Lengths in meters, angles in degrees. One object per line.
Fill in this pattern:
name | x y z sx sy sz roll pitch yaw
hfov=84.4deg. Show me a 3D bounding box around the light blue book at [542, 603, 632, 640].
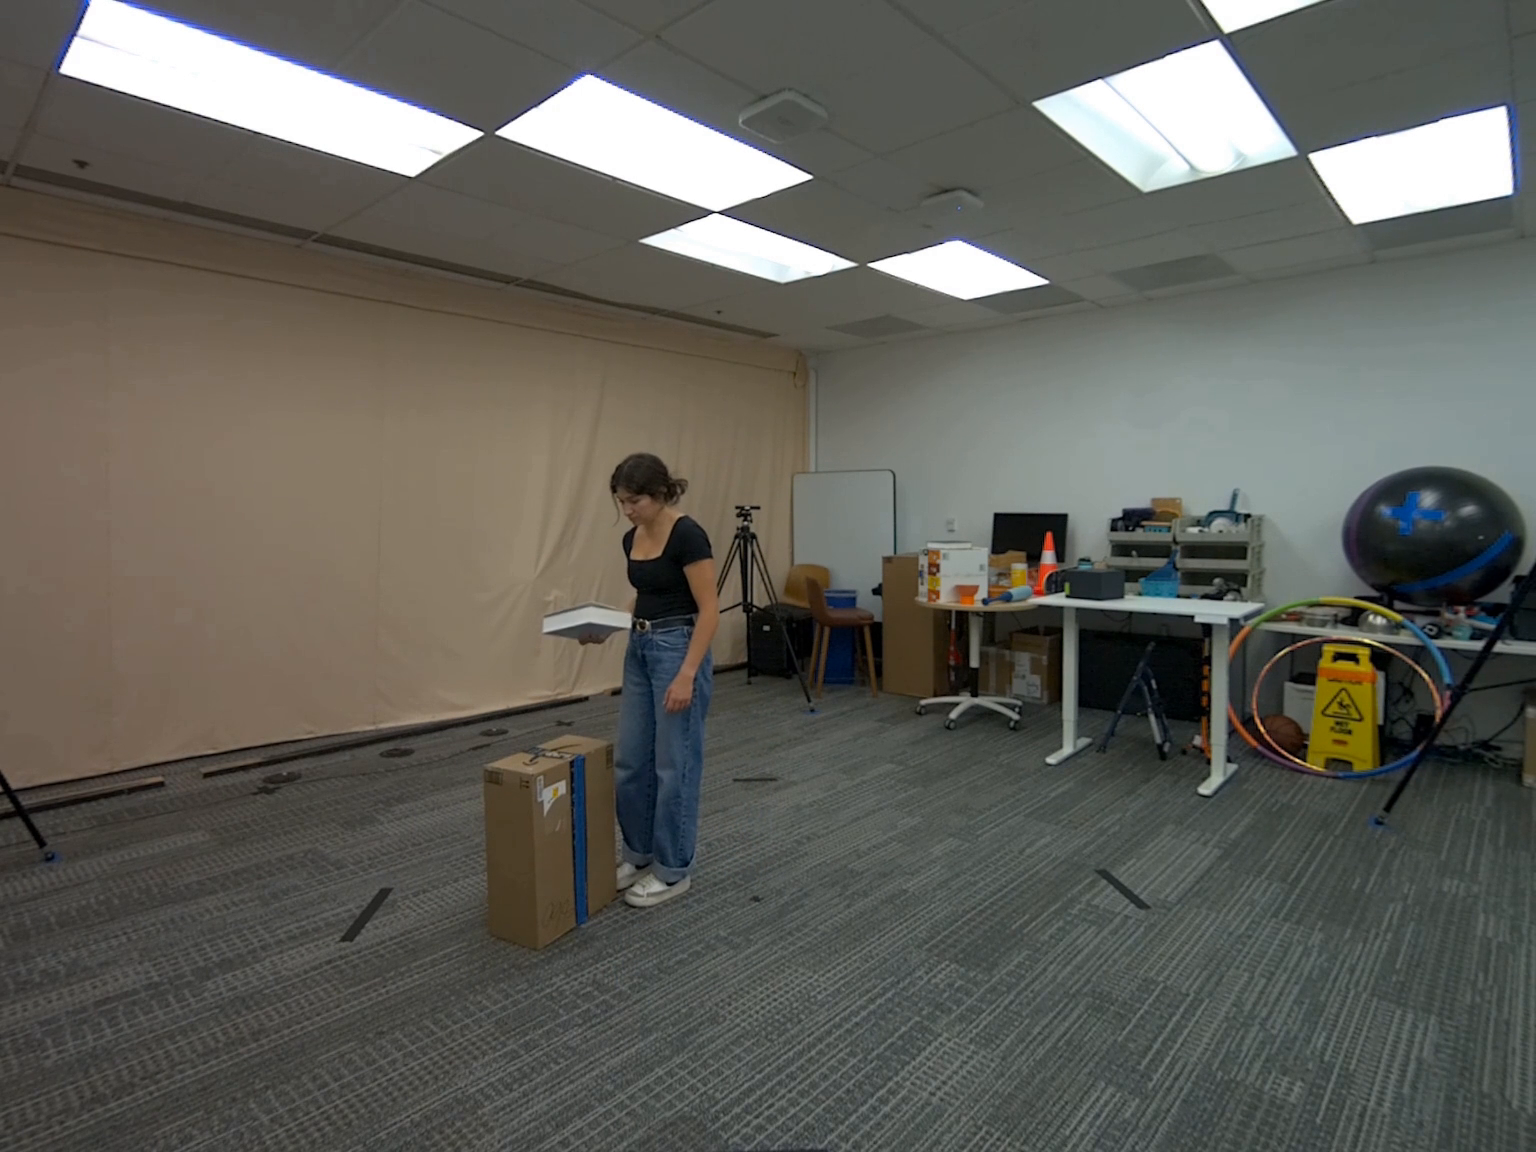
light blue book | -0.636 0.166 2.918 0.268 0.060 0.184 -14 -22 38
